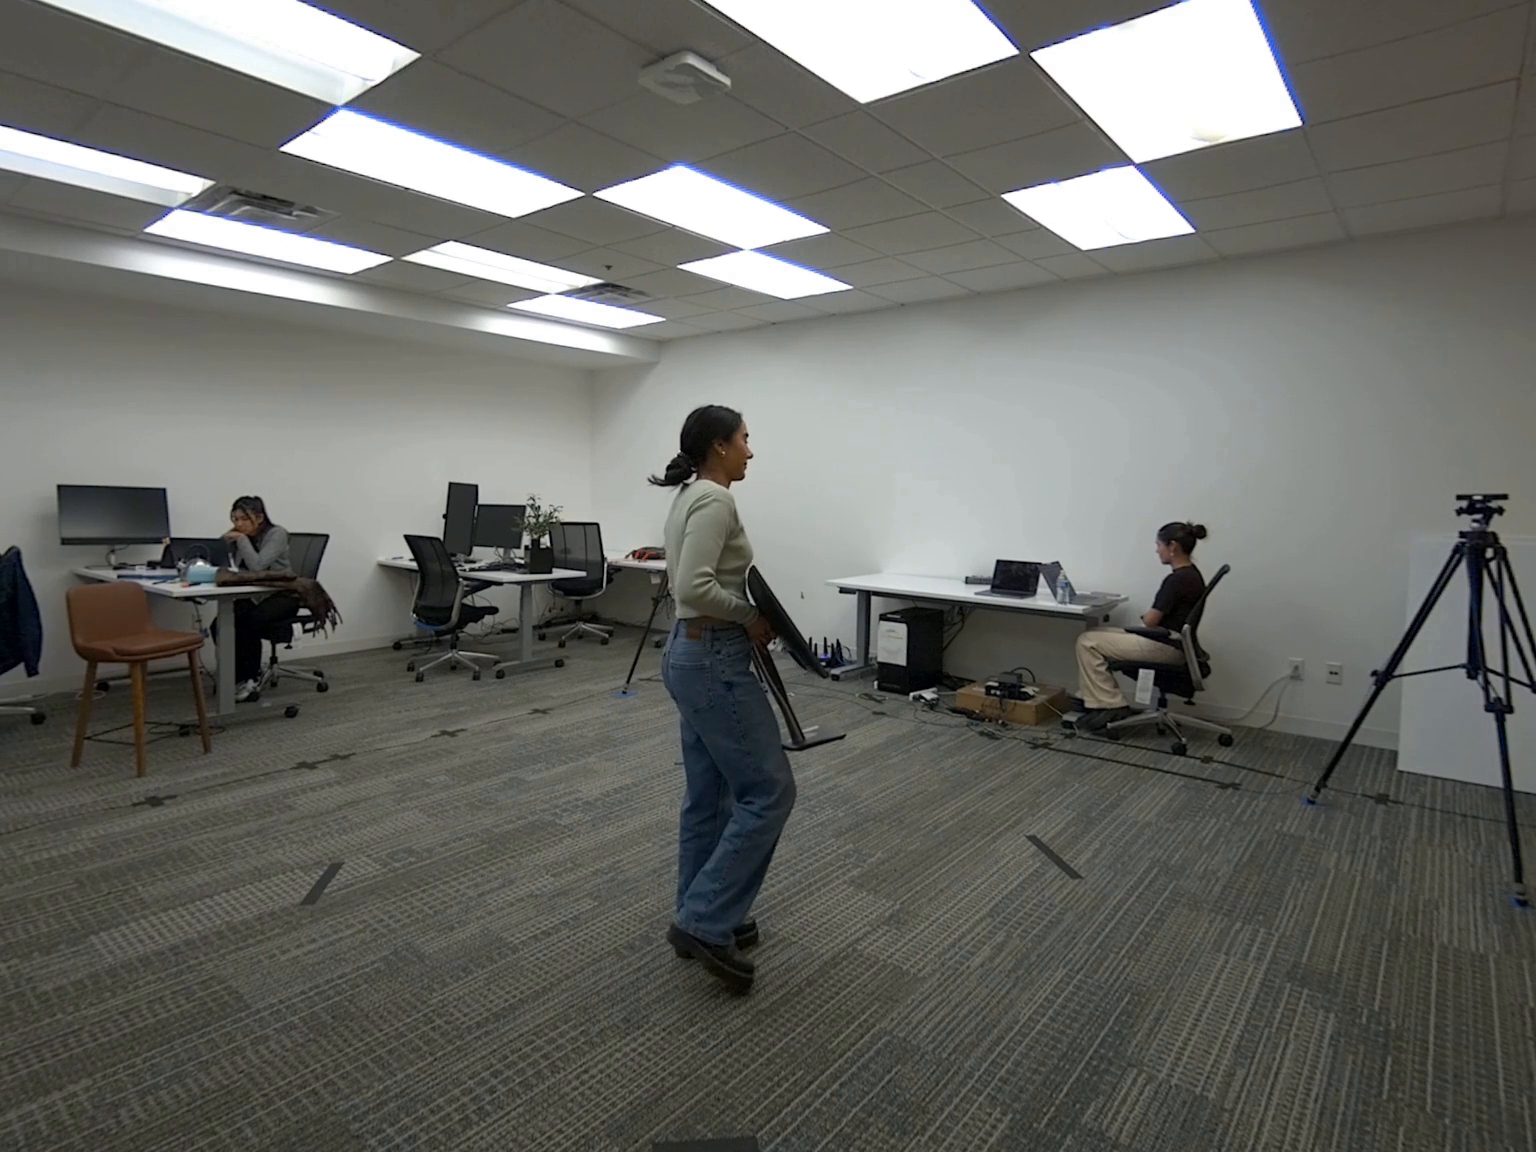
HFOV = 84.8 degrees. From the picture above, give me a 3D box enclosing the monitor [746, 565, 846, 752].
[{"bbox_3d":[0.050,0.235,2.466,0.174,0.520,0.528,-16,-5,-6],"label":"monitor"}]
